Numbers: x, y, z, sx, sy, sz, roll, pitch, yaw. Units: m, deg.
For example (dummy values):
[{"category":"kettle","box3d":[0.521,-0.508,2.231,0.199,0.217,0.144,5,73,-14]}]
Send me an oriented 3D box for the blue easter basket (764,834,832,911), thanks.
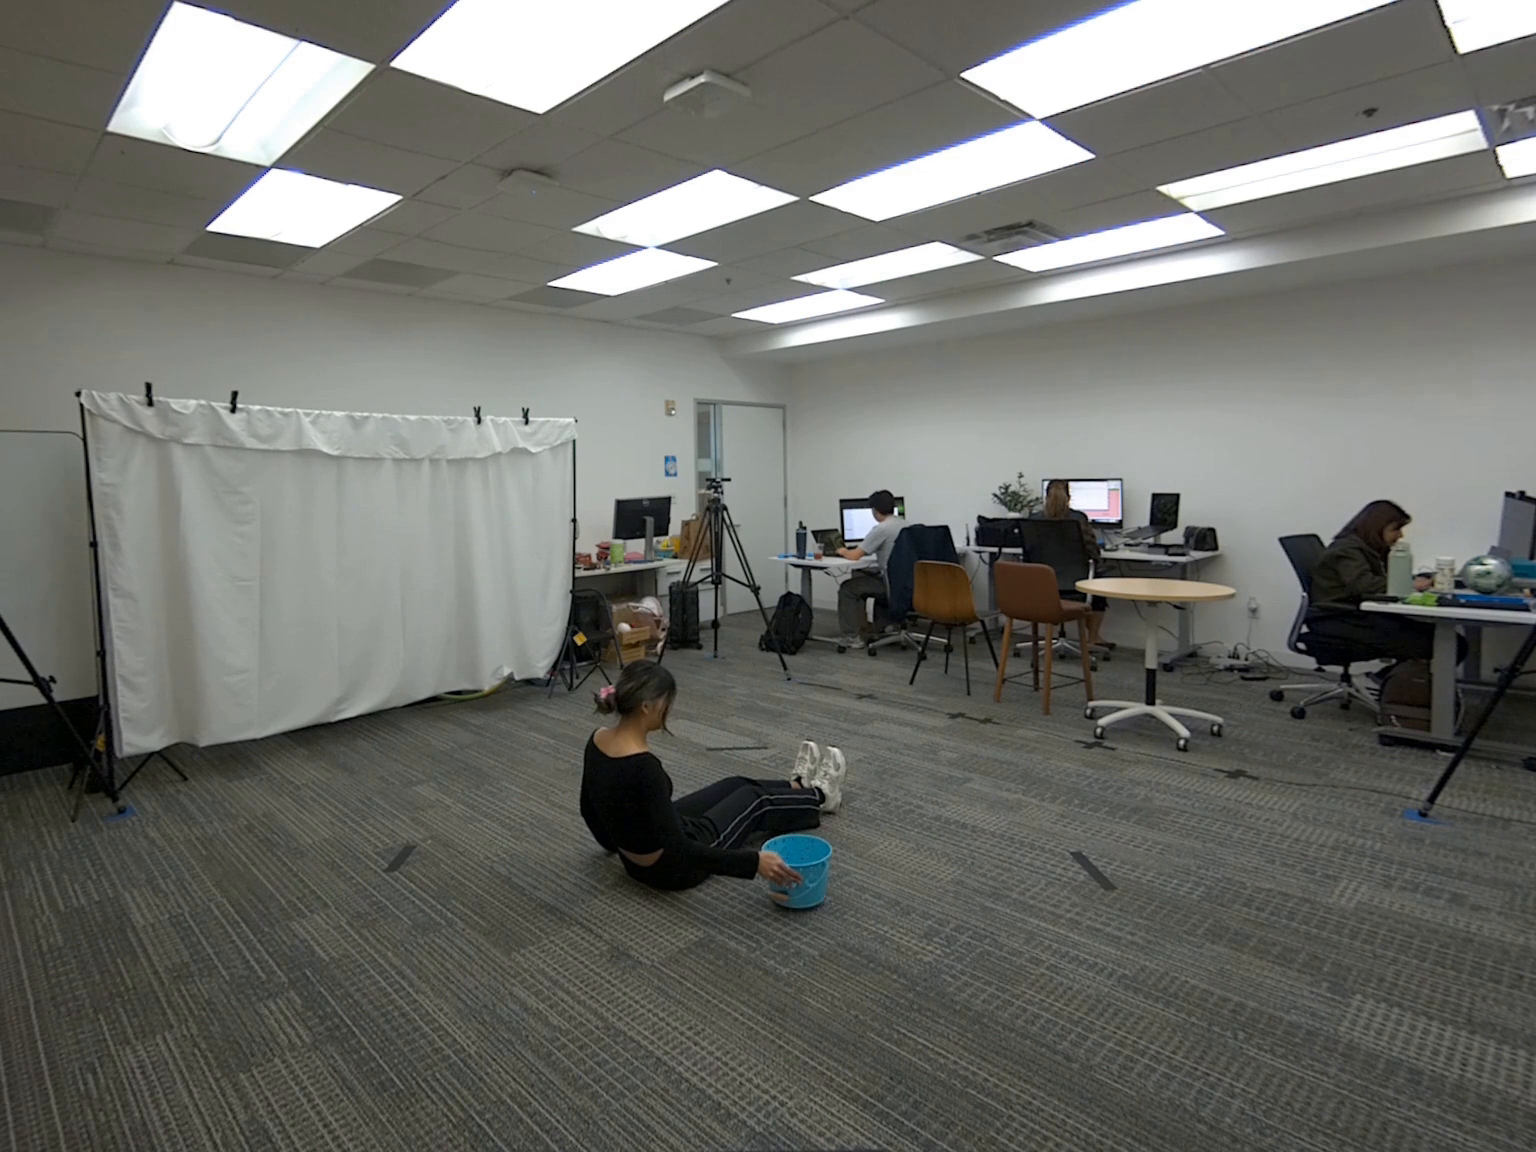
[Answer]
[{"category":"blue easter basket","box3d":[0.091,0.968,2.808,0.243,0.155,0.245,-2,6,-1]}]
